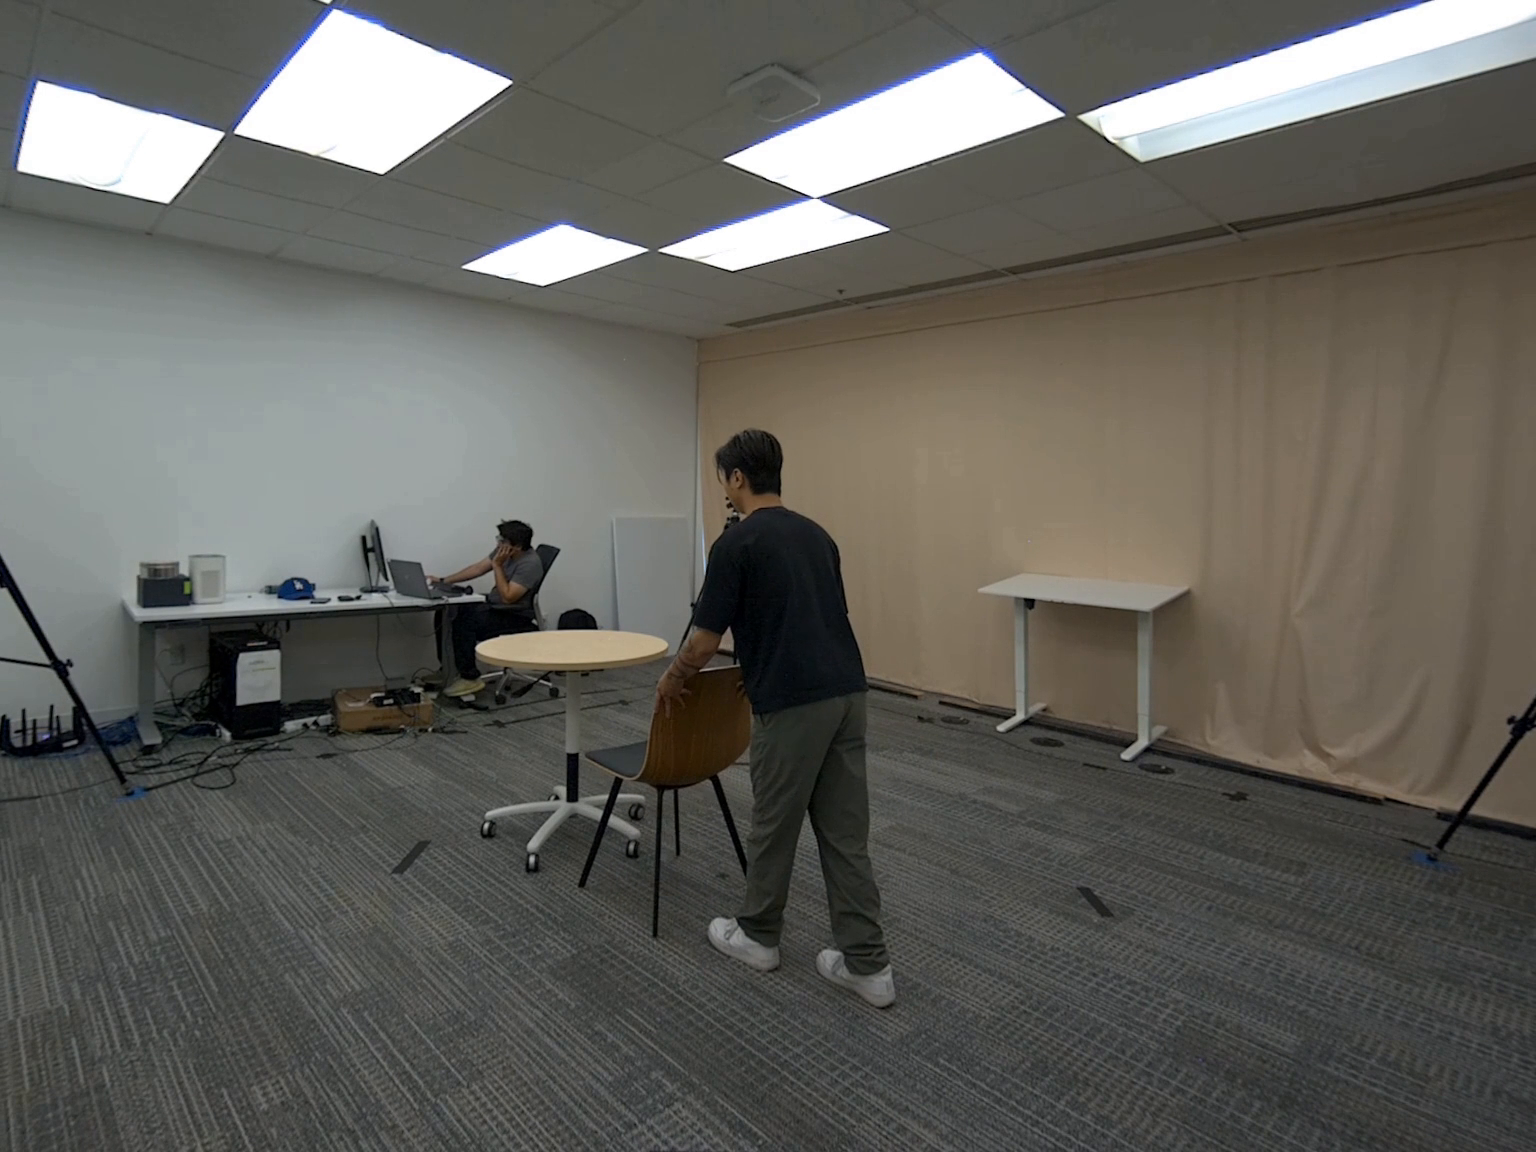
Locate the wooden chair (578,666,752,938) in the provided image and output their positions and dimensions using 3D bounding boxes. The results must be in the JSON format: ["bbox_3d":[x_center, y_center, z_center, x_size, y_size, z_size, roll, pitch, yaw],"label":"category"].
[{"bbox_3d":[-0.353,0.689,2.941,0.467,0.873,0.537,-2,9,-42],"label":"wooden chair"}]
